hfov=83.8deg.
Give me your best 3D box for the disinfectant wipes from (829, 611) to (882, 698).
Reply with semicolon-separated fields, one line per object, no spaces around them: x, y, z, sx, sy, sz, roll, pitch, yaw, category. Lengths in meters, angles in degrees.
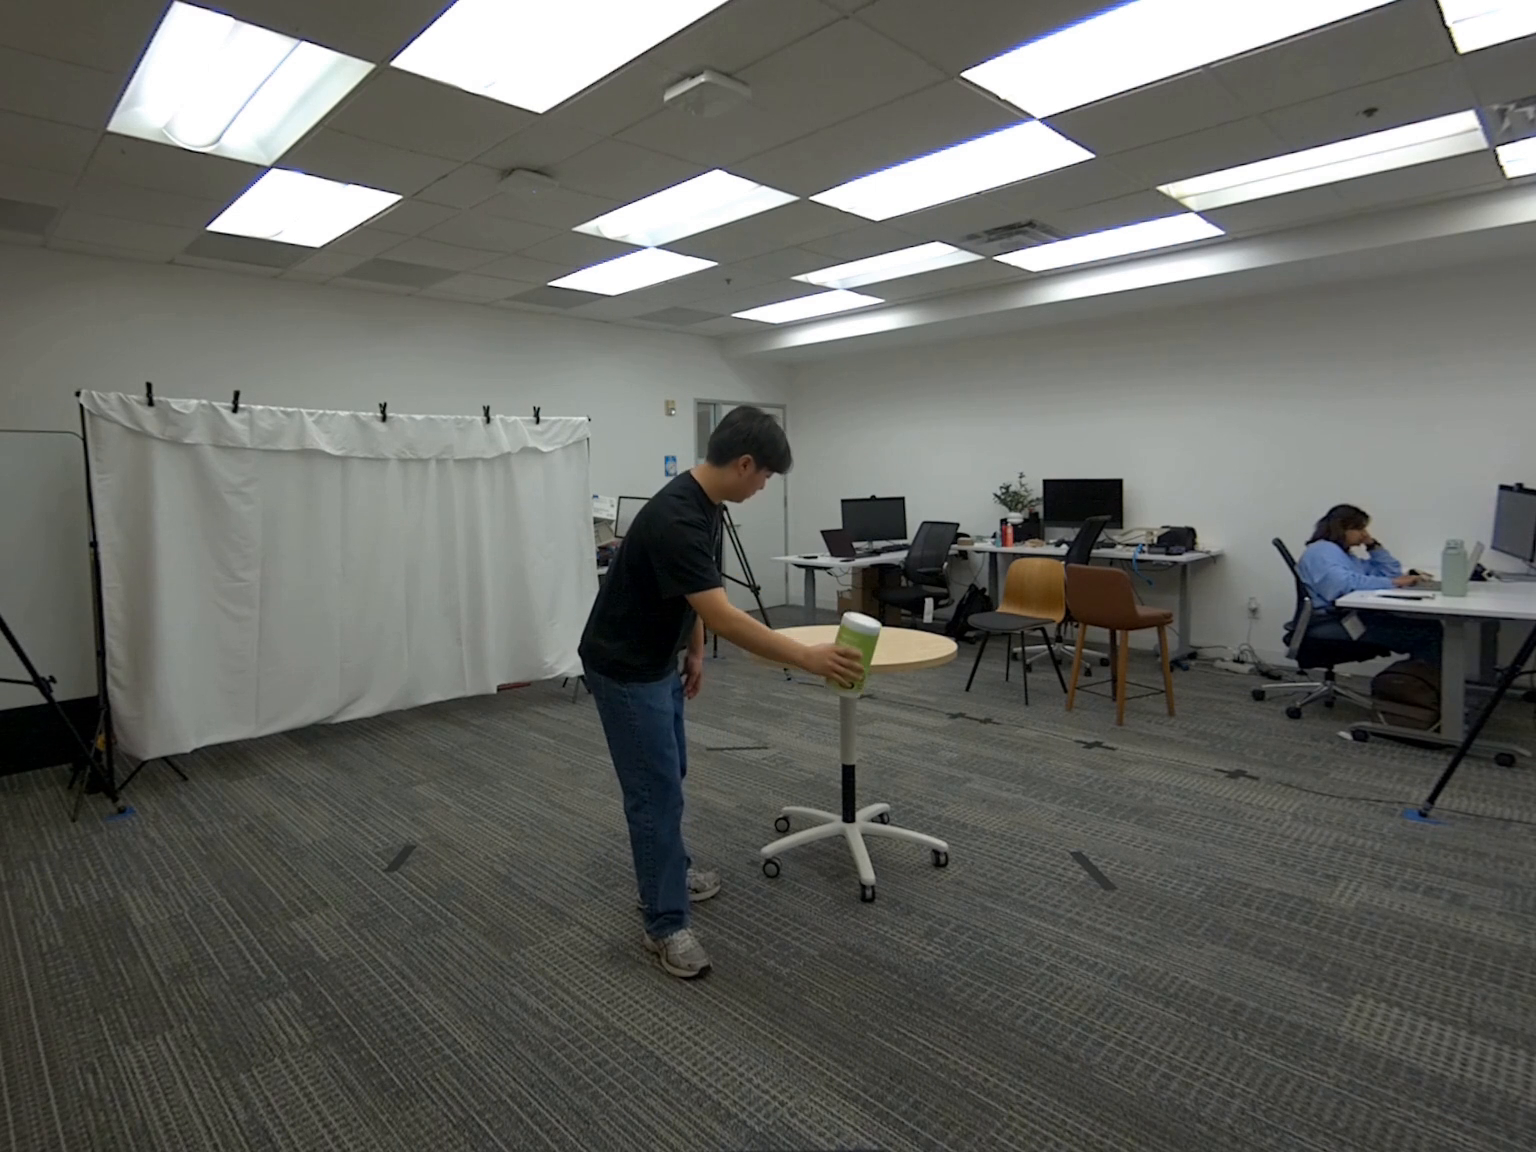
0.230;0.217;2.343;0.117;0.216;0.119;14;10;-4;disinfectant wipes
